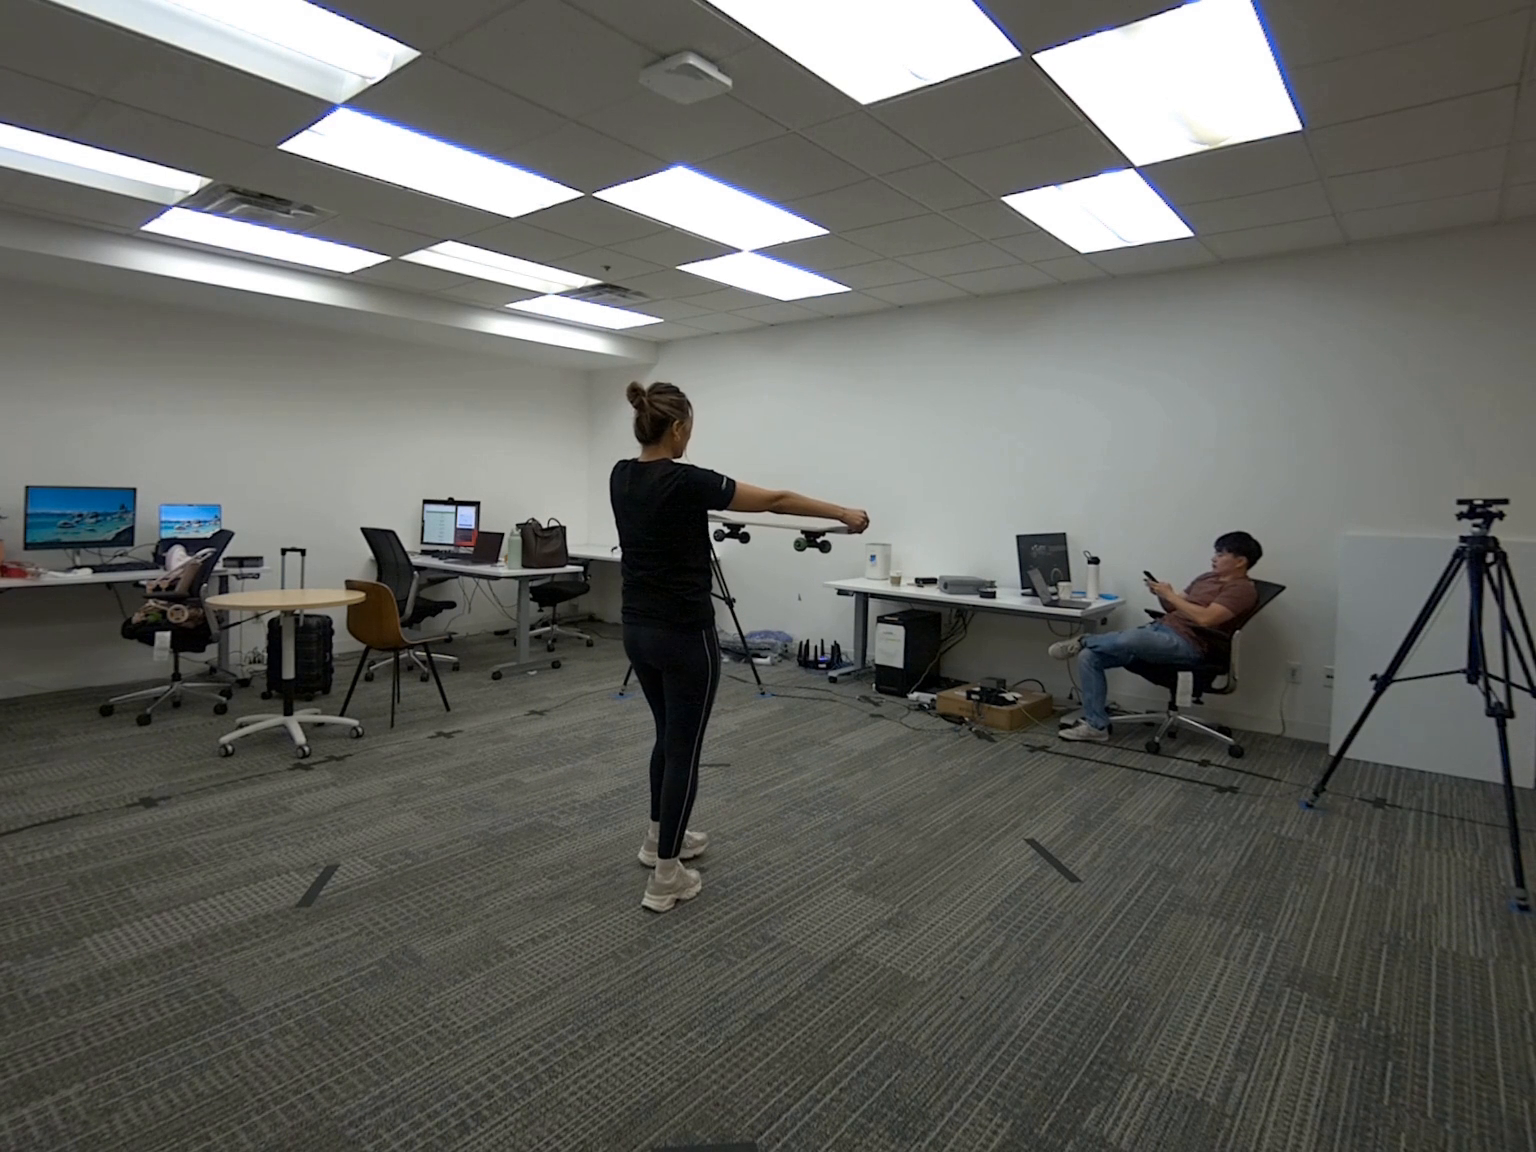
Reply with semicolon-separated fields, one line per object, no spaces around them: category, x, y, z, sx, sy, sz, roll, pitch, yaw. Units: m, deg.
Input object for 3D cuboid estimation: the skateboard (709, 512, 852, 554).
skateboard;-0.001;-0.168;3.251;0.813;0.110;0.187;9;2;41
